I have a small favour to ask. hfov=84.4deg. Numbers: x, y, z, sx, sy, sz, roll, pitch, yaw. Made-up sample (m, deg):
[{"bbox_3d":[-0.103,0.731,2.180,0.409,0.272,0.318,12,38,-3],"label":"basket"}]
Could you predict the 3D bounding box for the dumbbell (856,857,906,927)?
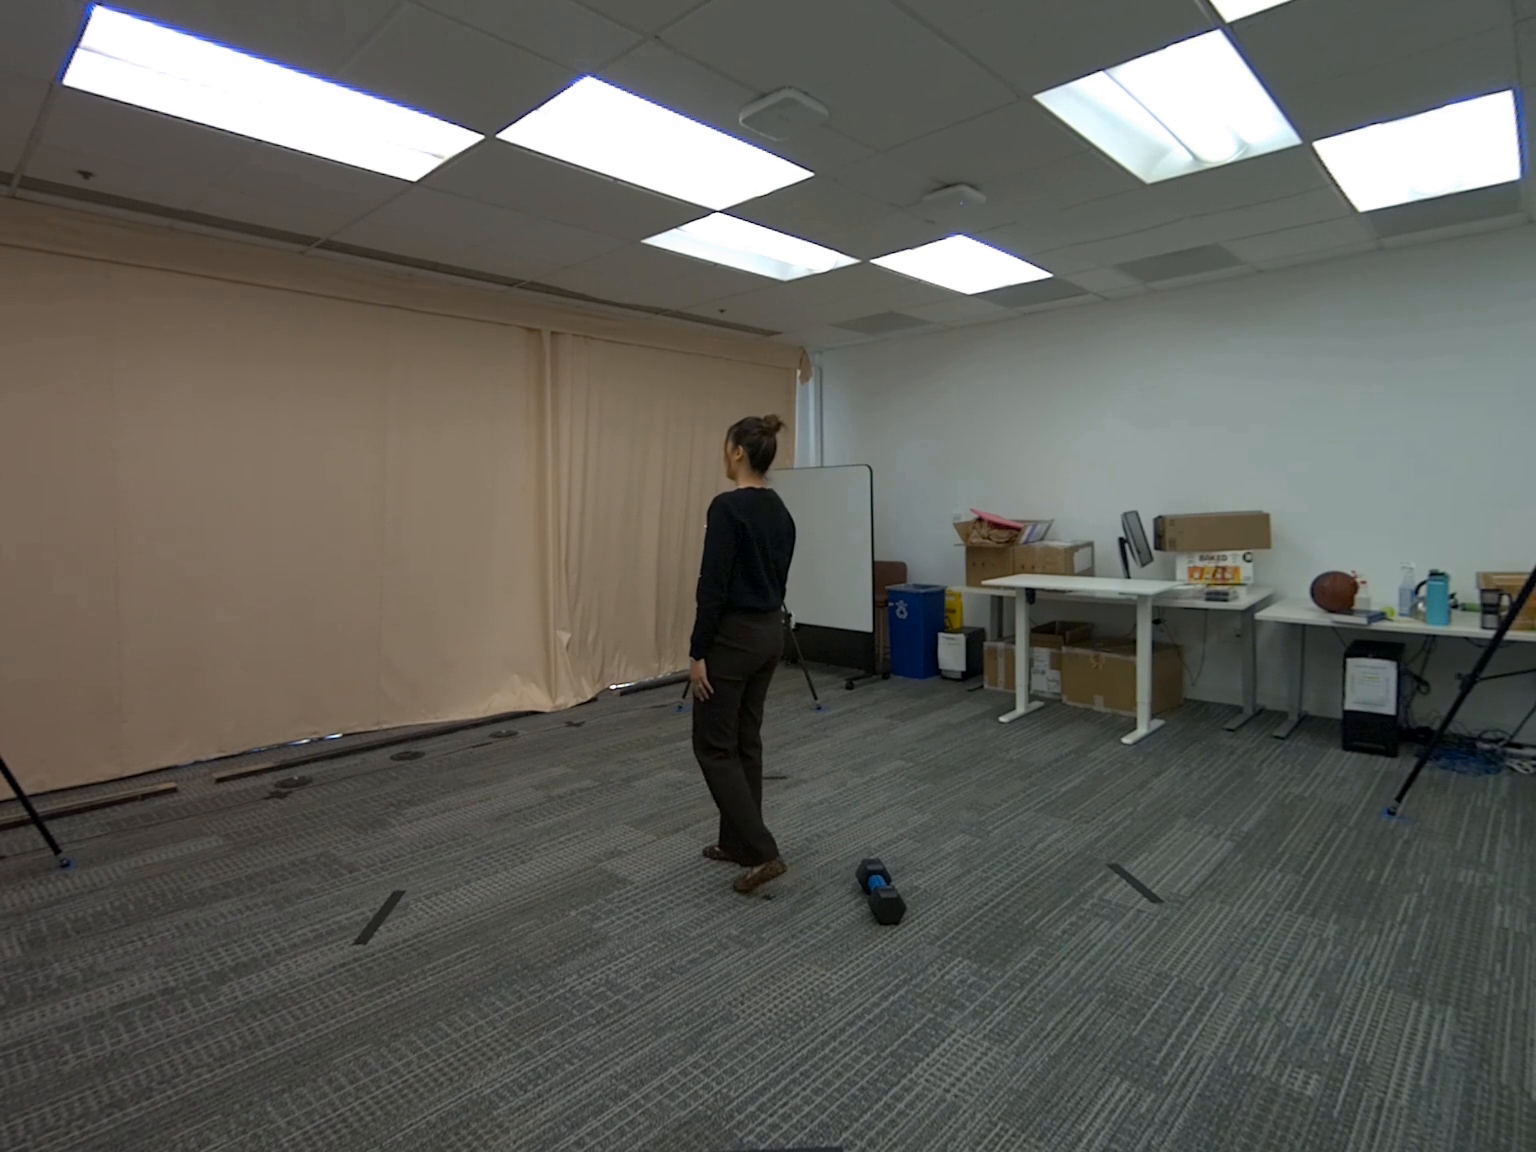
[{"bbox_3d":[0.396,1.088,2.905,0.108,0.123,0.295,29,2,-5],"label":"dumbbell"}]
